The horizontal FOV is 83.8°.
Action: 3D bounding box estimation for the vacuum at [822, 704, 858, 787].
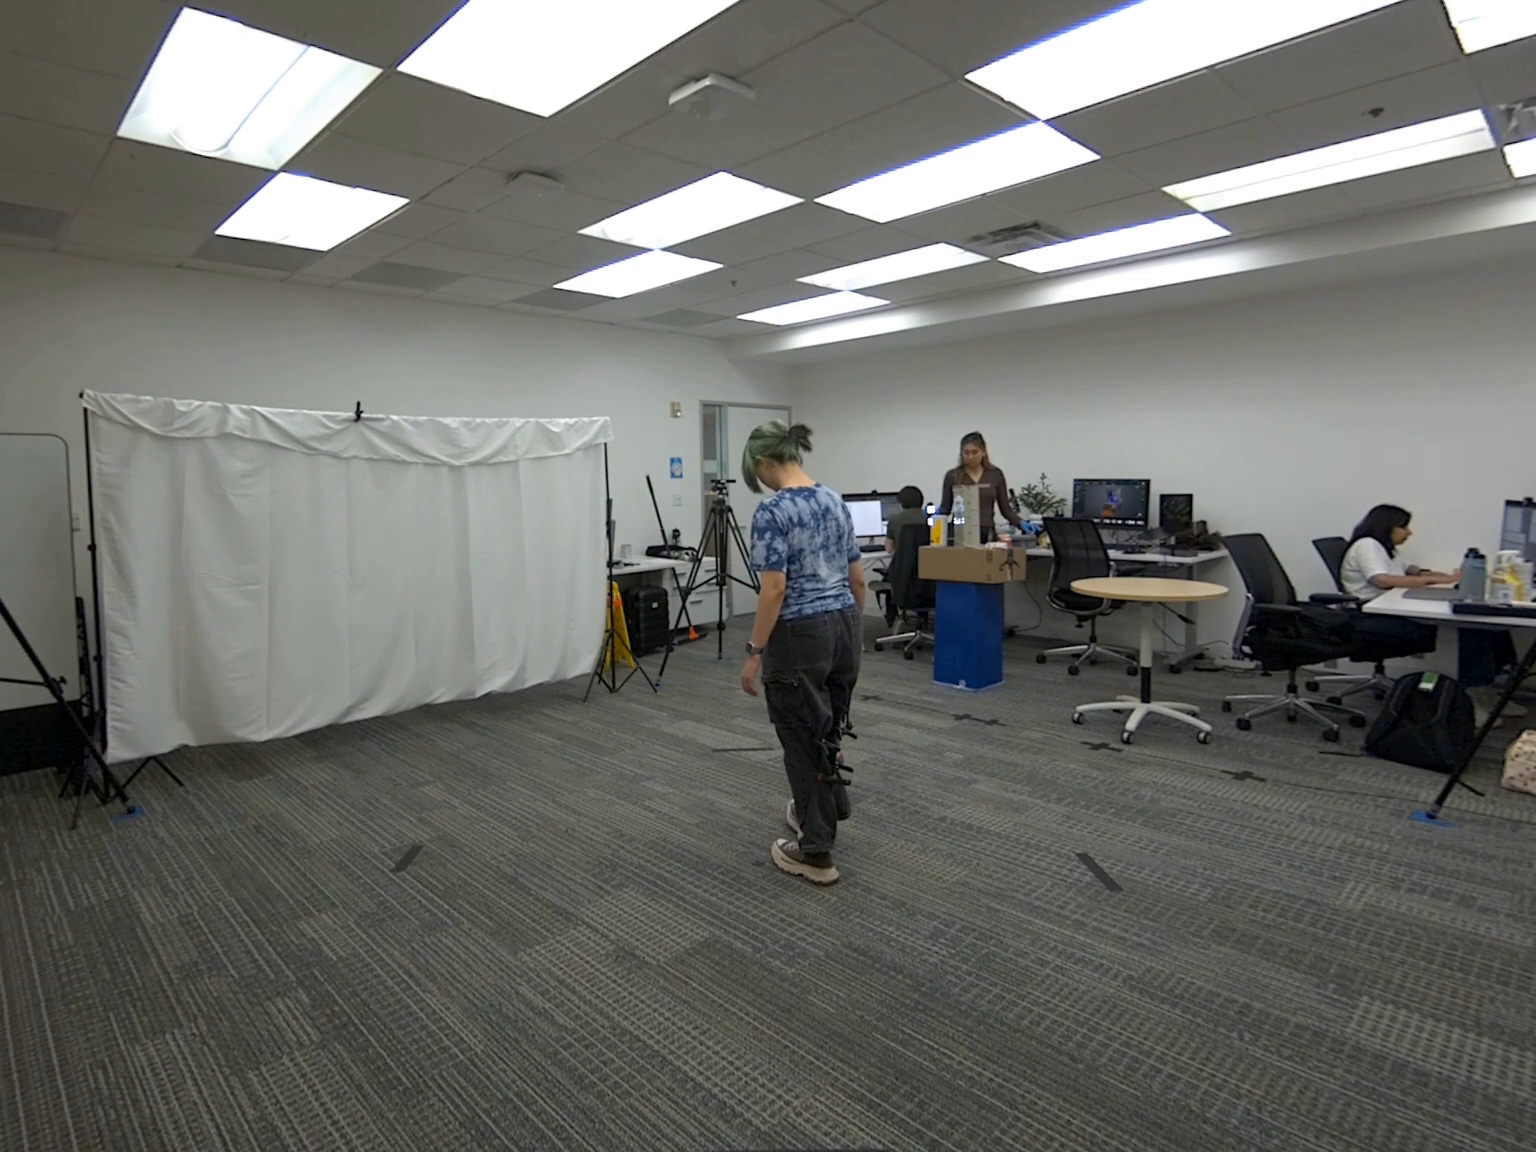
[{"bbox_3d":[0.277,0.602,3.608,0.251,0.148,1.025,0,-37,-6],"label":"vacuum"}]
